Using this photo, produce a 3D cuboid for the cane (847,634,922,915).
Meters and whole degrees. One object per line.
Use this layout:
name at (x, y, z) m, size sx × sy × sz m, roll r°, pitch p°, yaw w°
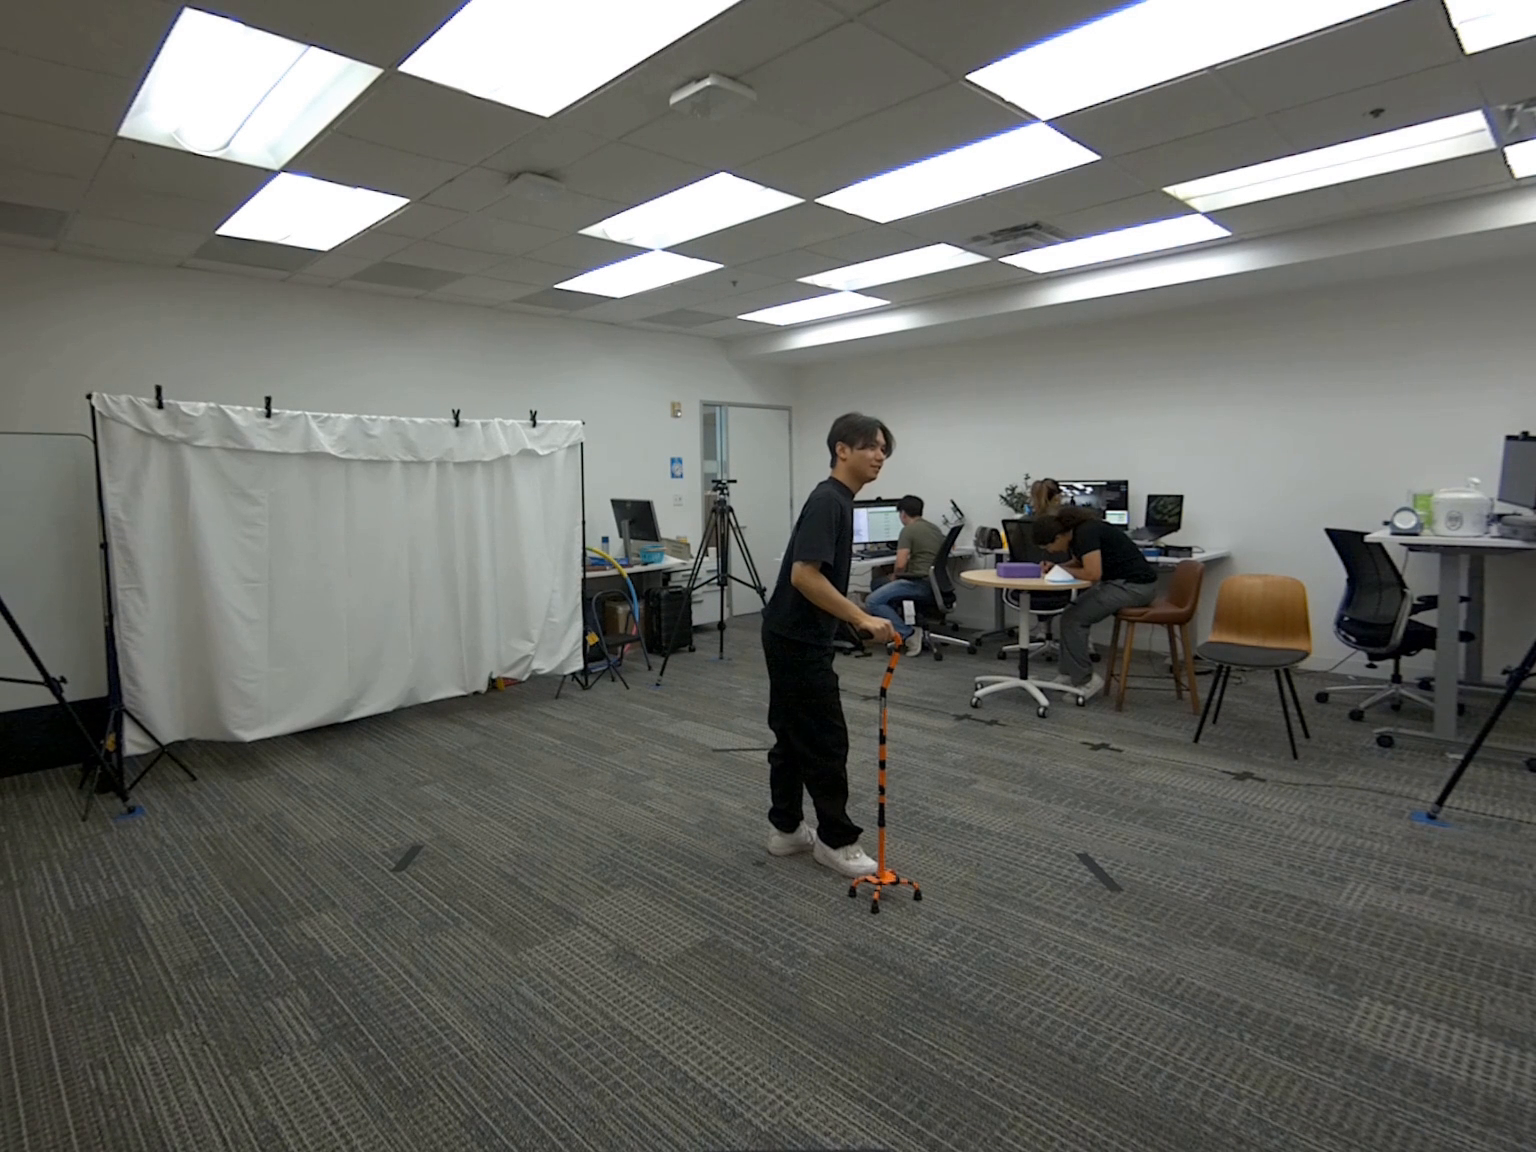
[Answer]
cane at (0.390, 0.618, 2.809) m, size 0.201 × 0.904 × 0.156 m, roll -2°, pitch 5°, yaw -31°
